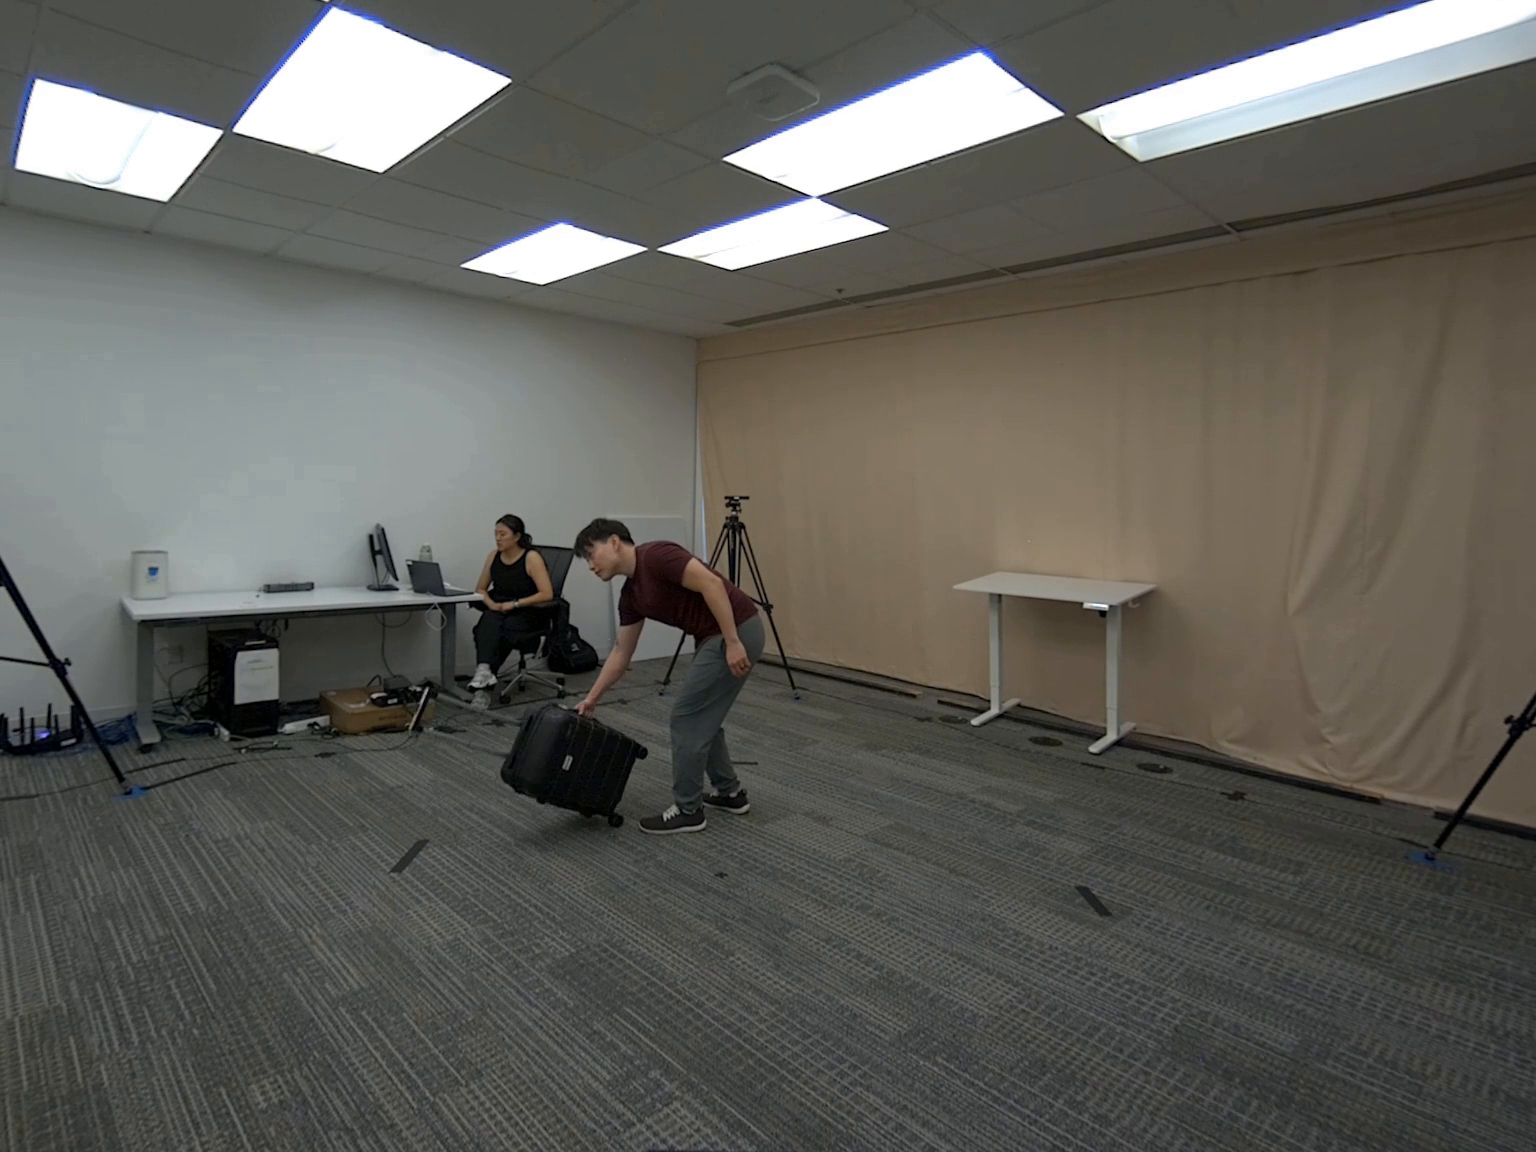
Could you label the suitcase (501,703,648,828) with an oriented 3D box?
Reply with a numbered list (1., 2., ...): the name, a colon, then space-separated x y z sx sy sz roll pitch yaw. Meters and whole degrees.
1. suitcase: -0.917 0.689 3.346 0.264 0.386 0.947 6 -21 40
